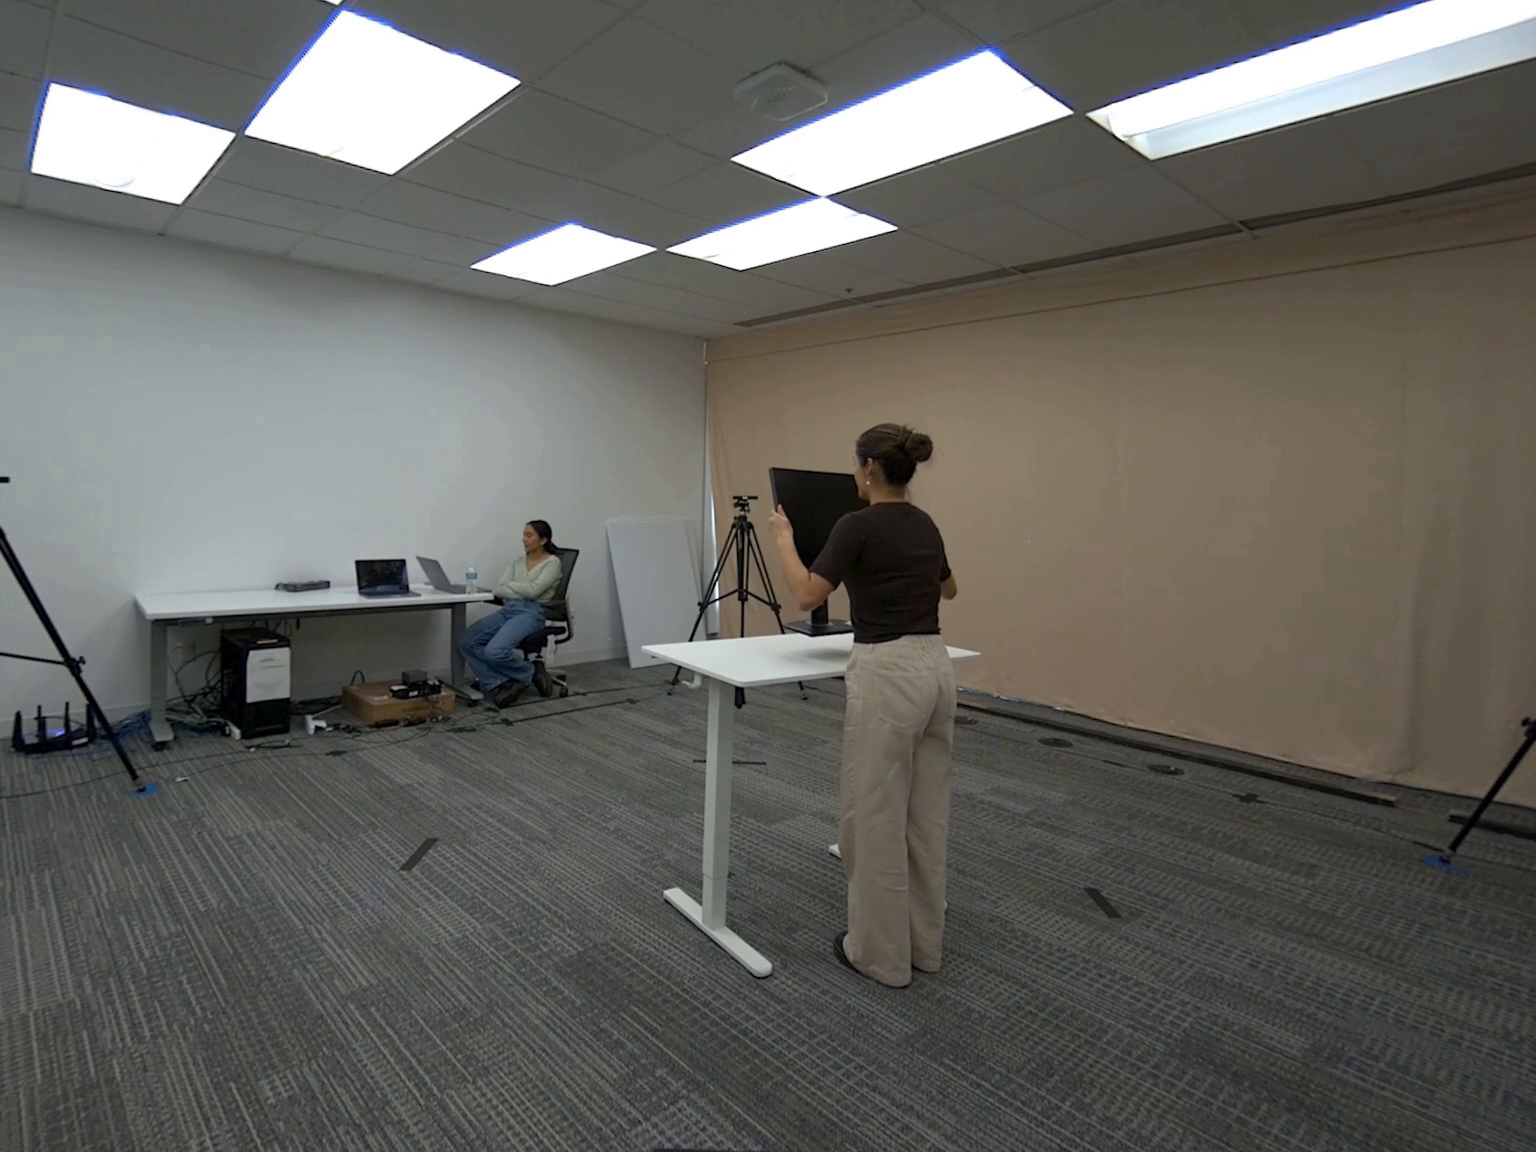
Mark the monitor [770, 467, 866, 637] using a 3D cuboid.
[{"bbox_3d":[0.194,-0.073,2.761,0.526,0.522,0.191,-1,1,-43],"label":"monitor"}]
